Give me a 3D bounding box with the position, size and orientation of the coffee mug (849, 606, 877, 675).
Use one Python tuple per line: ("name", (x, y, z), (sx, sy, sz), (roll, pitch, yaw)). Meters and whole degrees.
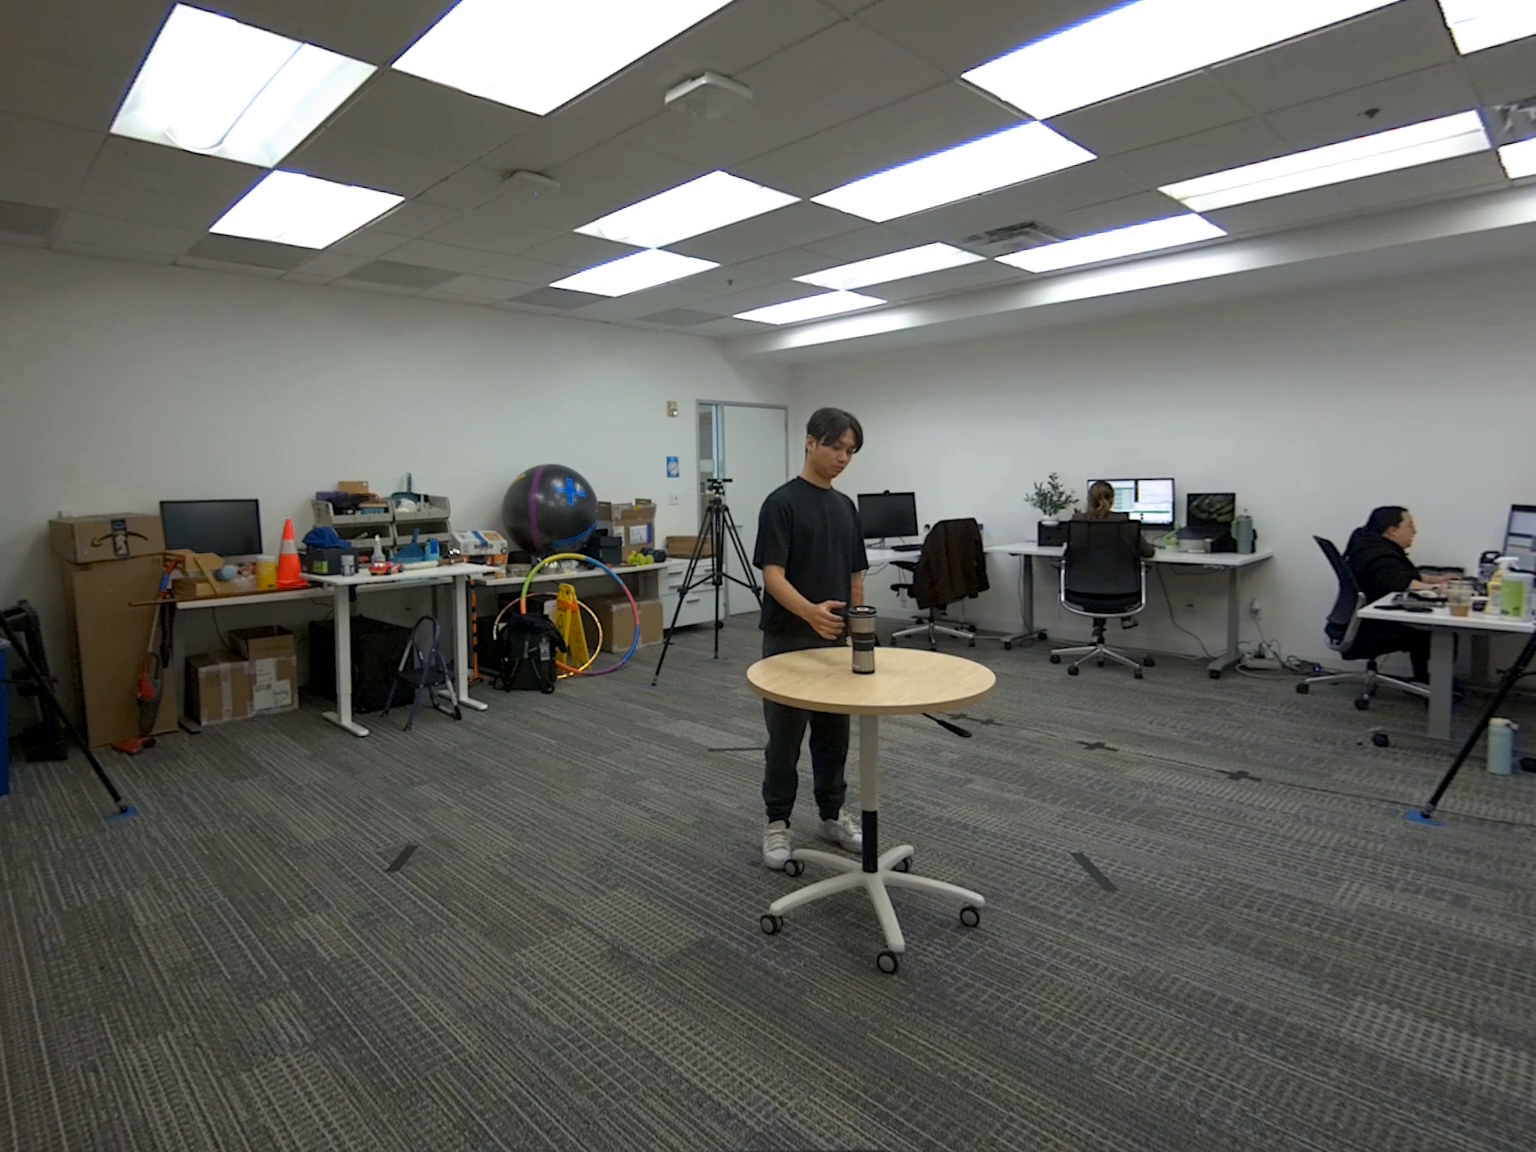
("coffee mug", (0.312, 0.205, 2.698), (0.119, 0.202, 0.090), (-11, 5, -42))
